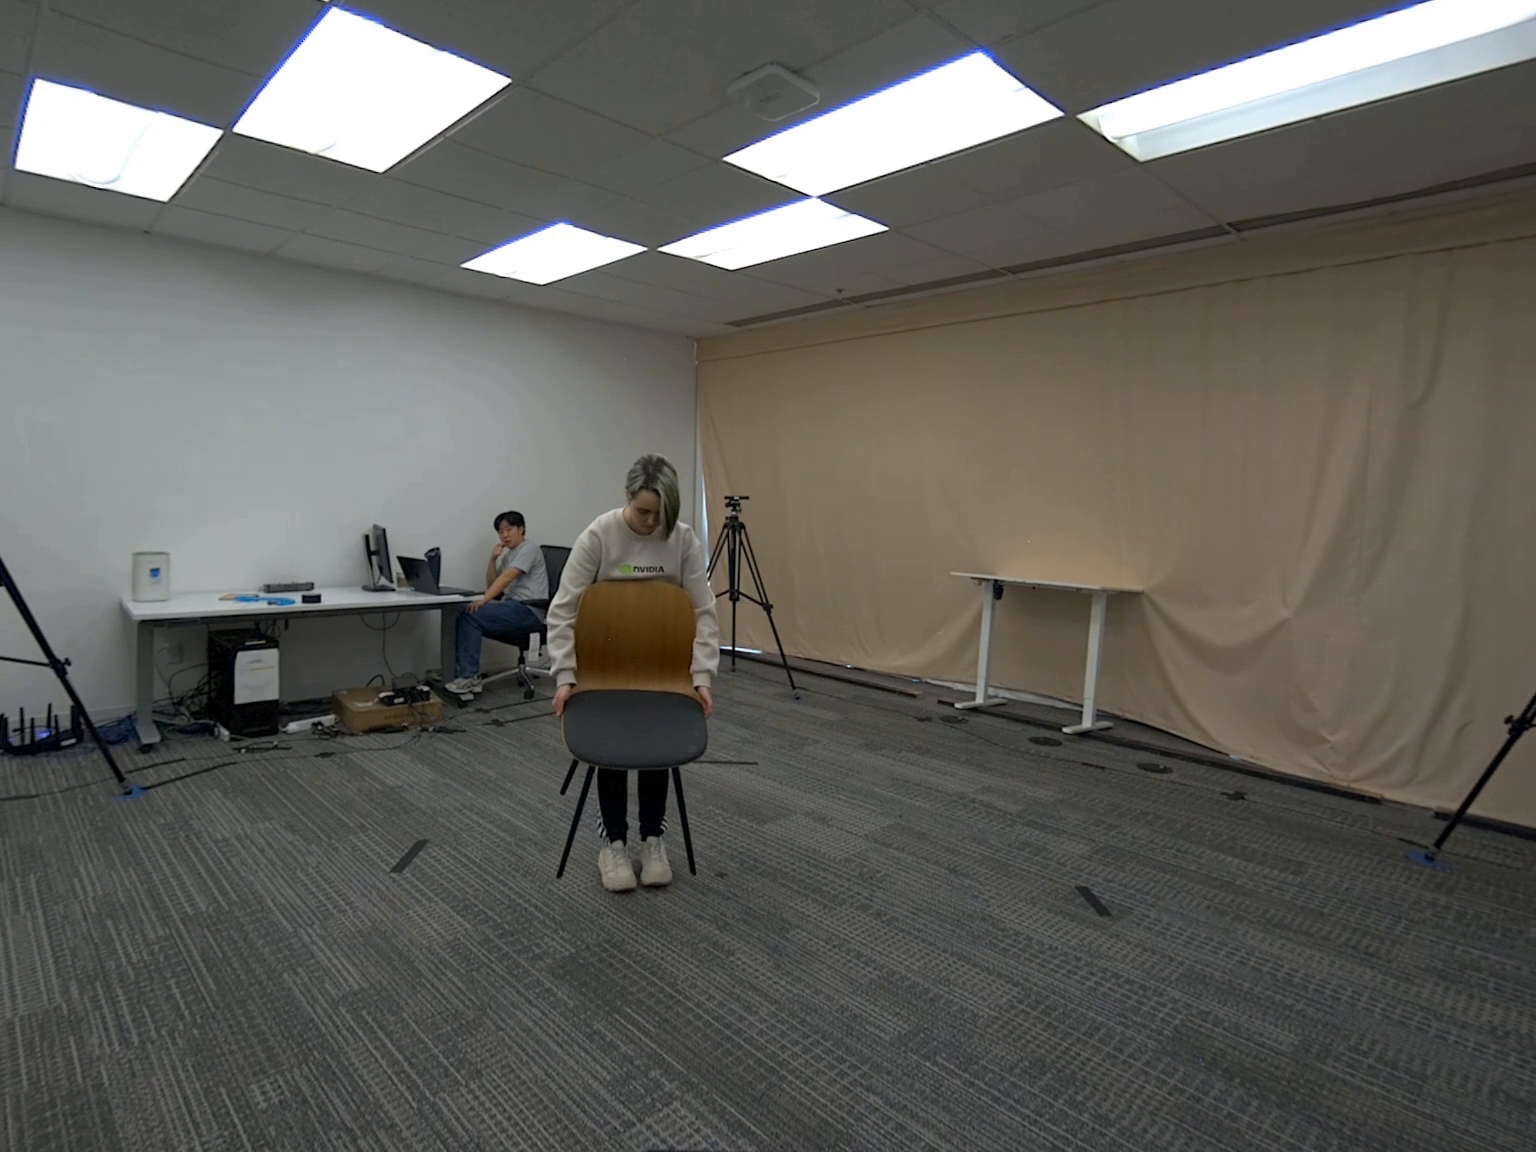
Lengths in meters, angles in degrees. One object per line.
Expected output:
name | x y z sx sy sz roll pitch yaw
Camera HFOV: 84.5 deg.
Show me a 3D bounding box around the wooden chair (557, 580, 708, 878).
wooden chair | -0.446 0.511 2.788 0.473 0.869 0.533 4 15 -14
